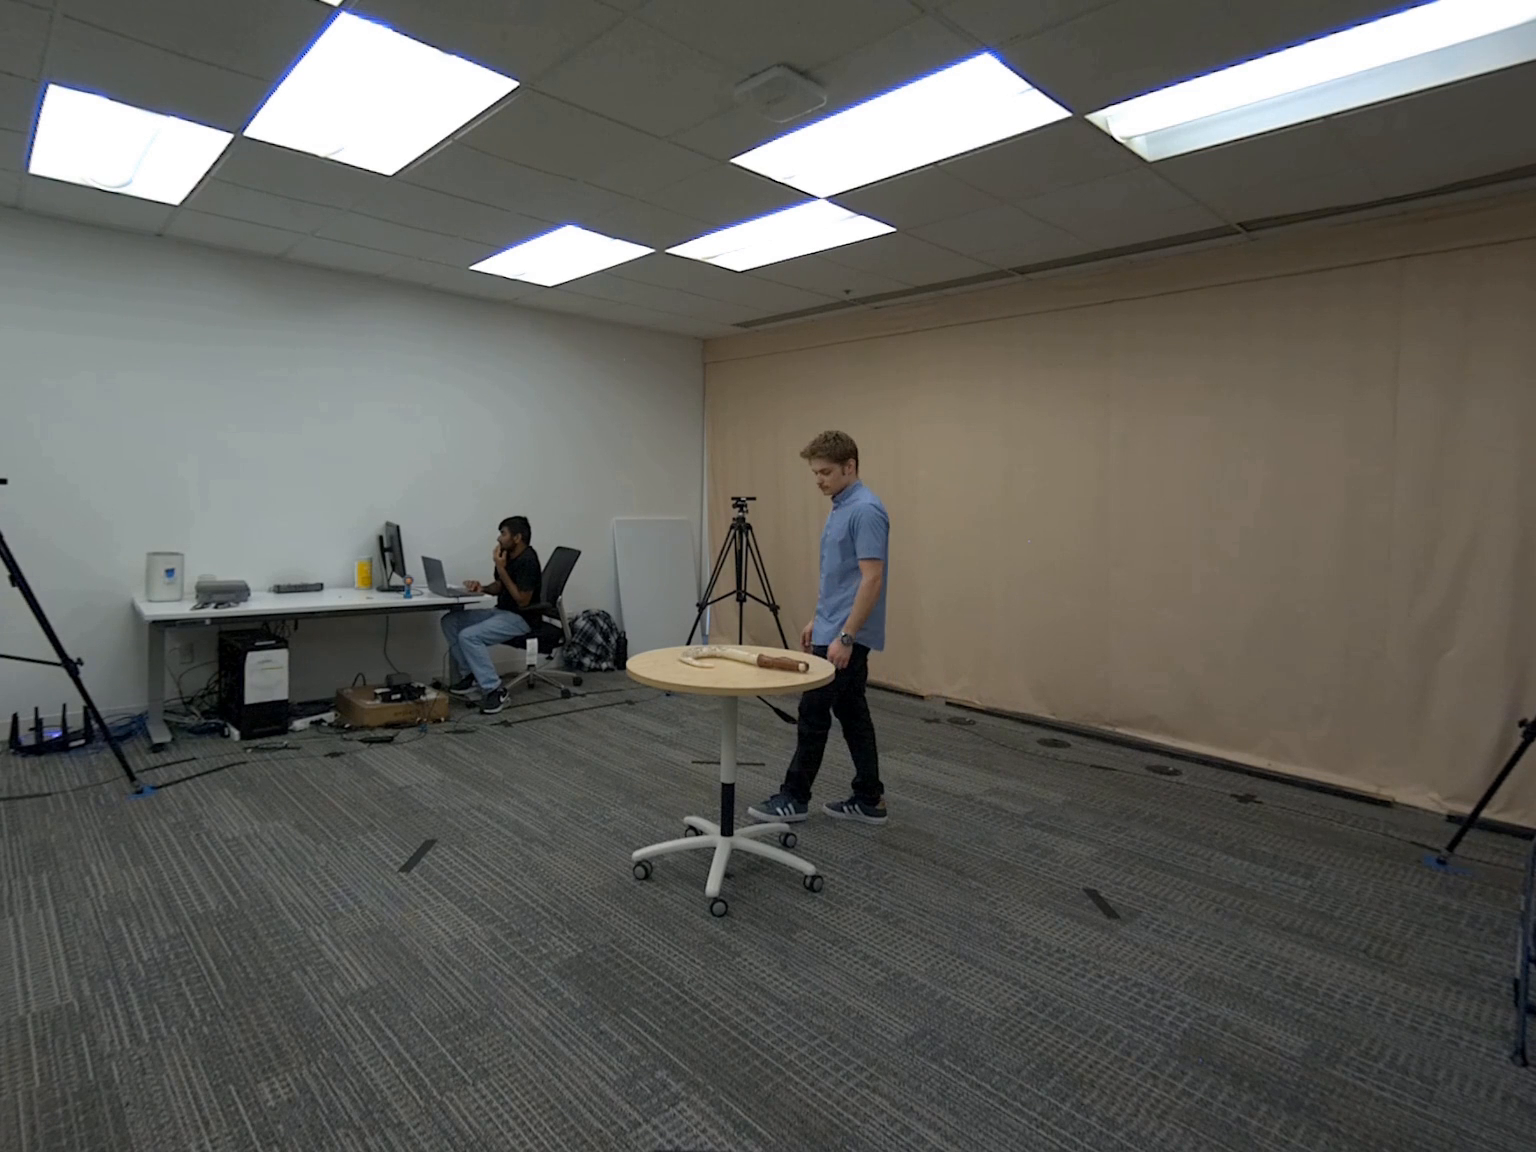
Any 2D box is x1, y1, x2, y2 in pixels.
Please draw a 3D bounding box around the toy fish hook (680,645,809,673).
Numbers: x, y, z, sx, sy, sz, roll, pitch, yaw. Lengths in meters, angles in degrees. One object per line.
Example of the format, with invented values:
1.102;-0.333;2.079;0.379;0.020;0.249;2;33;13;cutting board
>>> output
-0.104;0.318;3.054;0.518;0.048;0.221;4;14;33;toy fish hook
